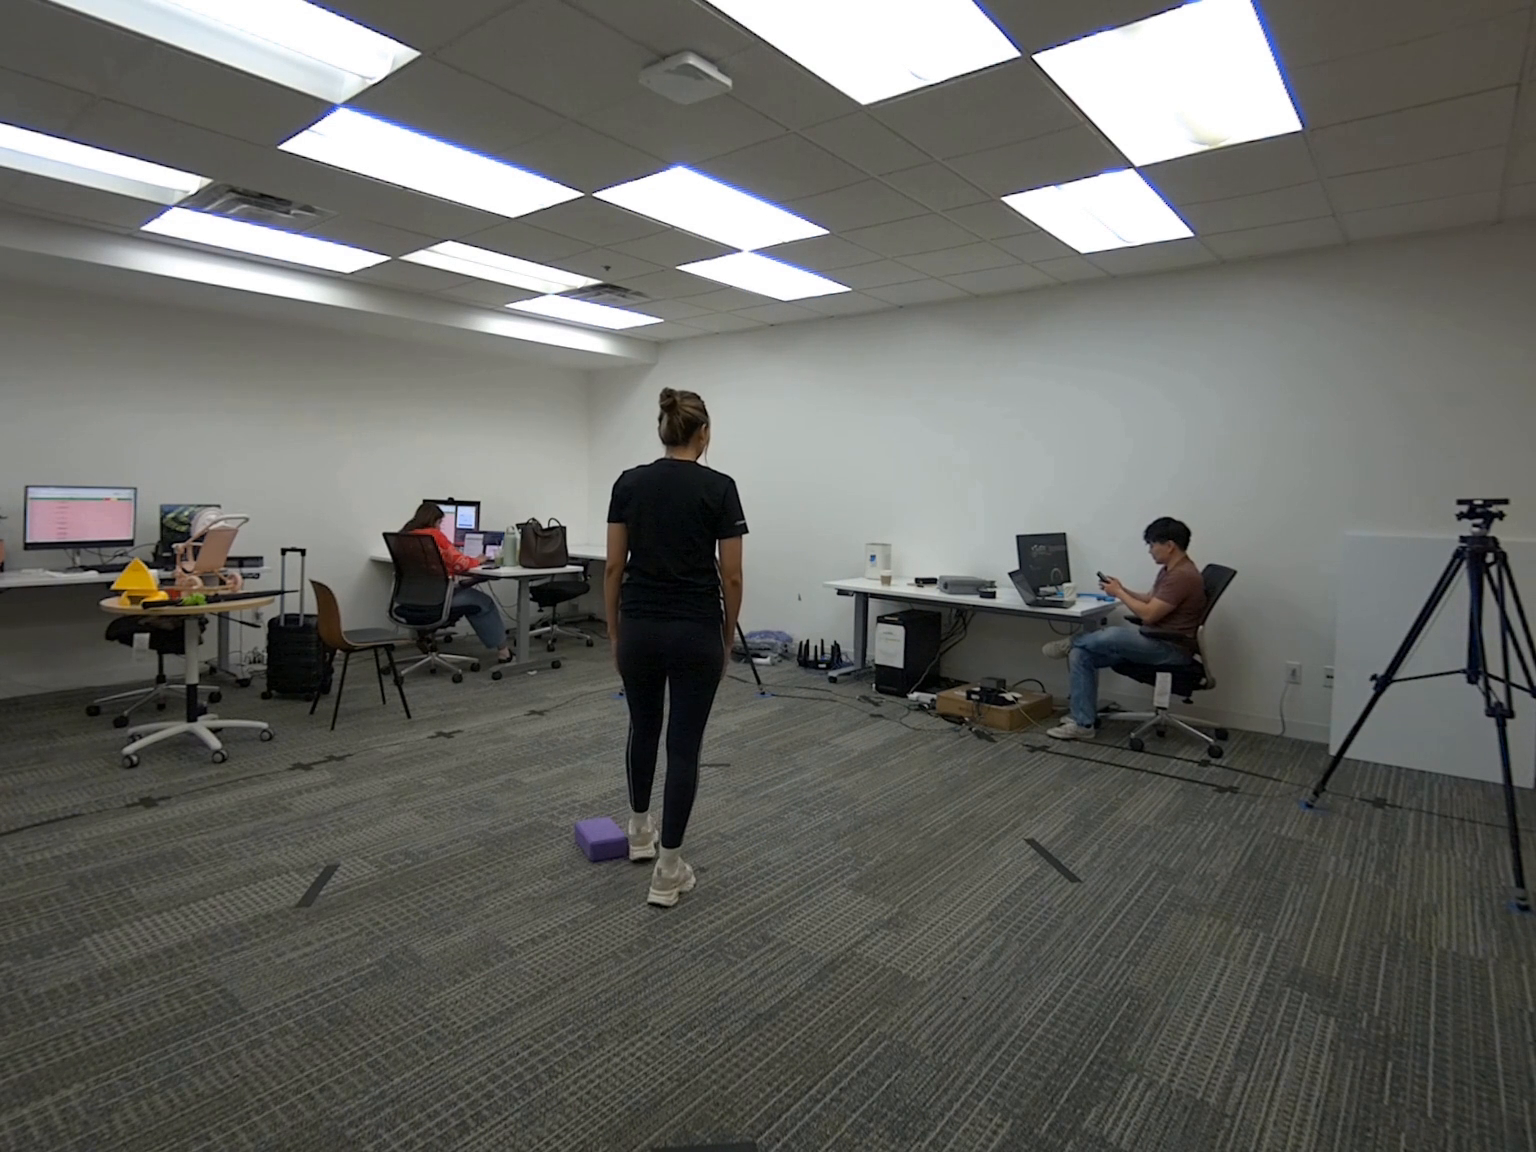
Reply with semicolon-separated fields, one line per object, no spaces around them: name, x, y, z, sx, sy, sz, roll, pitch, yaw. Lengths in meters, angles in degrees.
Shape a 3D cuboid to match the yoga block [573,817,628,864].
yoga block;-0.657;1.006;3.271;0.145;0.076;0.236;-1;7;-28
